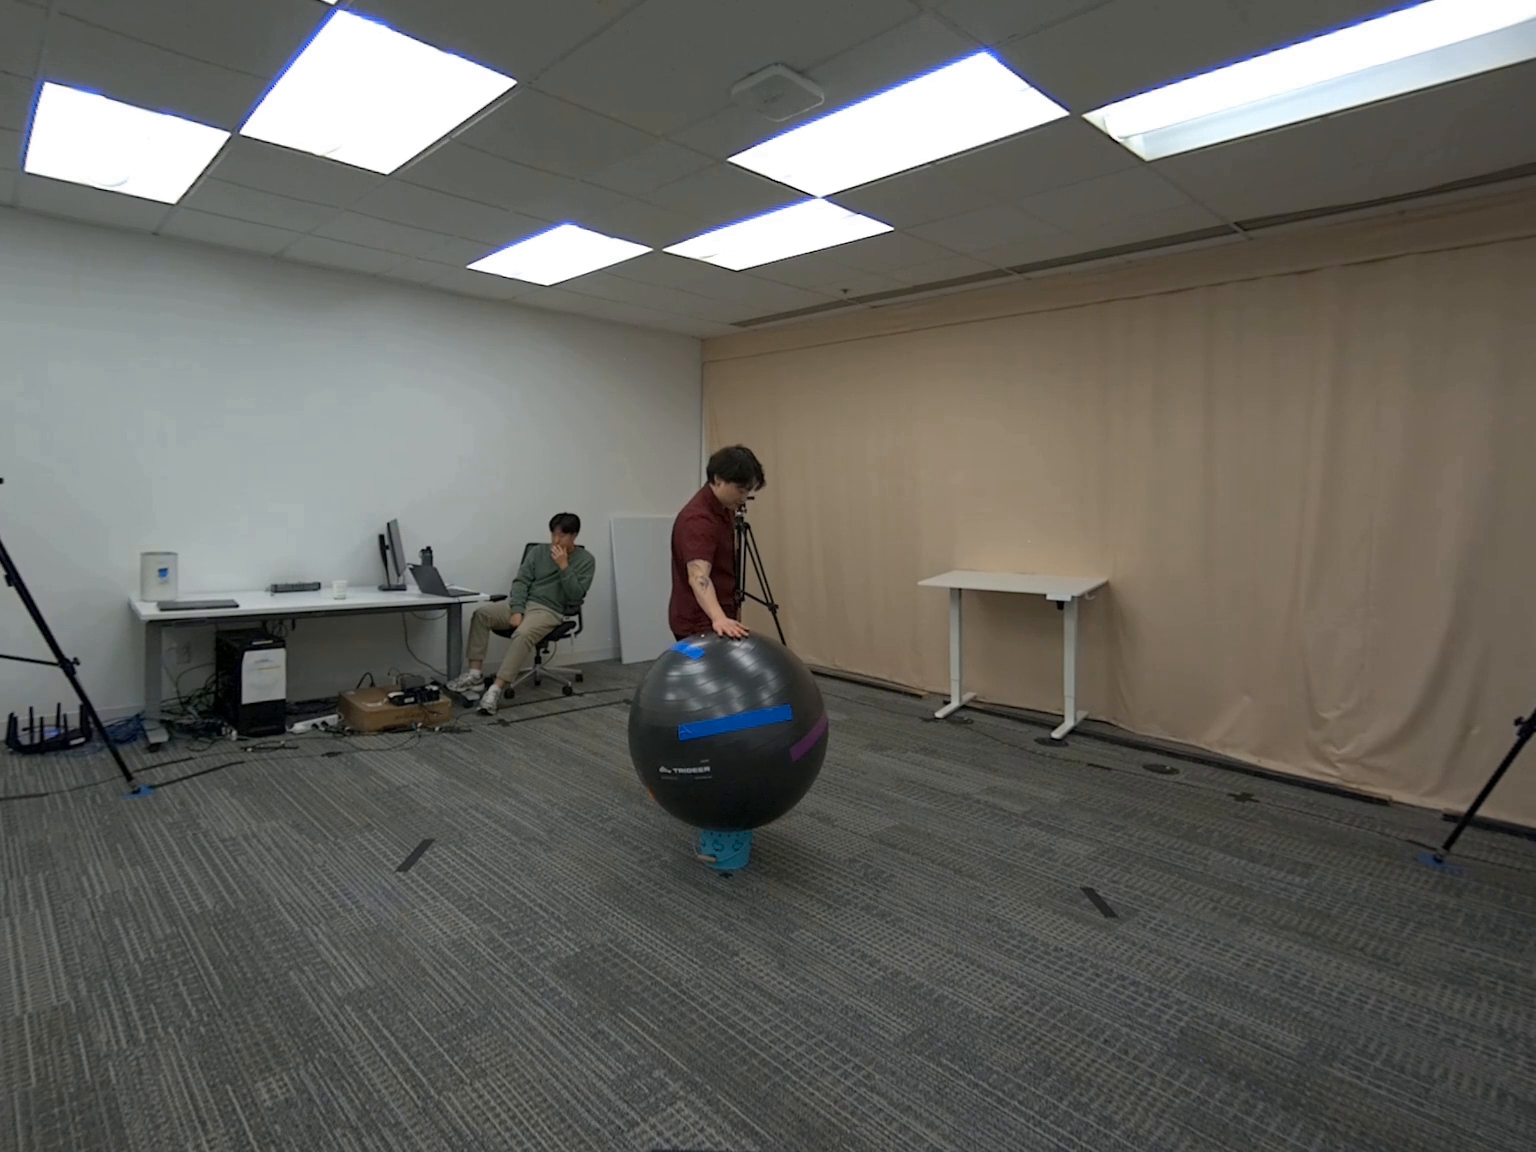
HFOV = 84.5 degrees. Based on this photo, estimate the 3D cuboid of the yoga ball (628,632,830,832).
[{"bbox_3d":[-0.155,0.583,3.204,0.757,0.756,0.761,1,4,-1],"label":"yoga ball"}]
